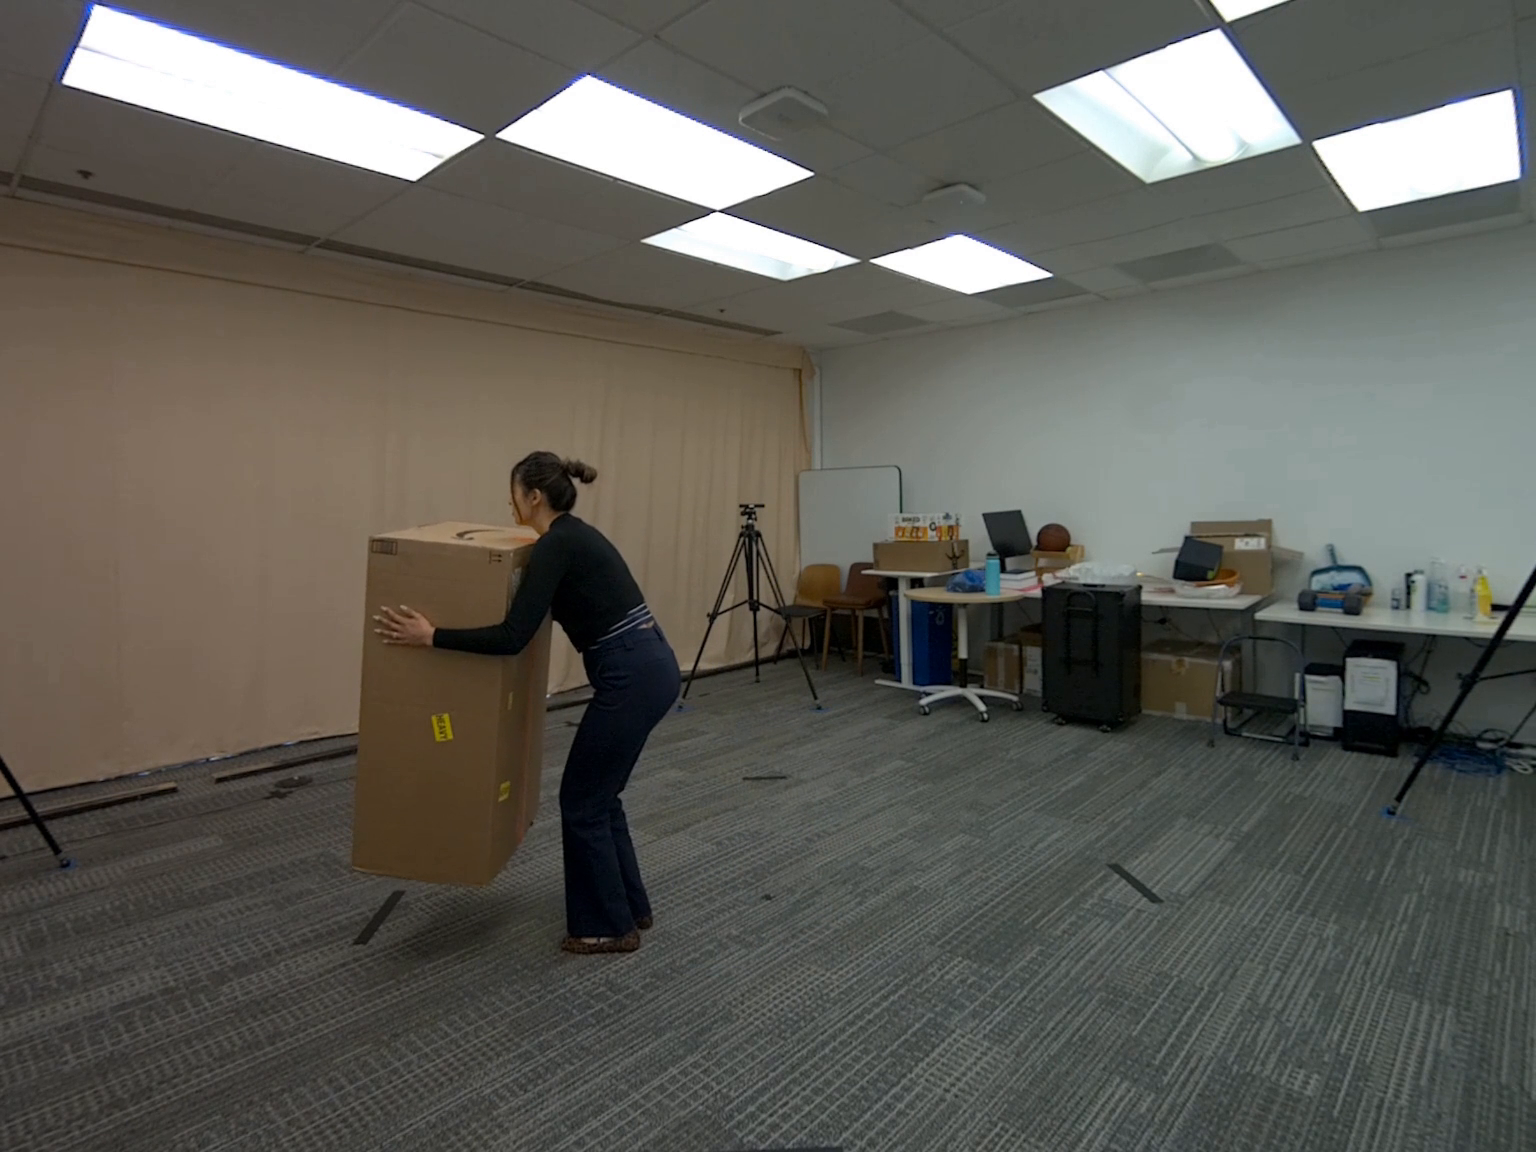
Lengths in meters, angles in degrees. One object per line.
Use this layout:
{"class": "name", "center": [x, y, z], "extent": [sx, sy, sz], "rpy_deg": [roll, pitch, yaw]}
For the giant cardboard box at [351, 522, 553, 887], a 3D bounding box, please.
{"class": "giant cardboard box", "center": [-0.998, 0.378, 2.747], "extent": [0.427, 1.022, 0.578], "rpy_deg": [6, 6, 1]}
